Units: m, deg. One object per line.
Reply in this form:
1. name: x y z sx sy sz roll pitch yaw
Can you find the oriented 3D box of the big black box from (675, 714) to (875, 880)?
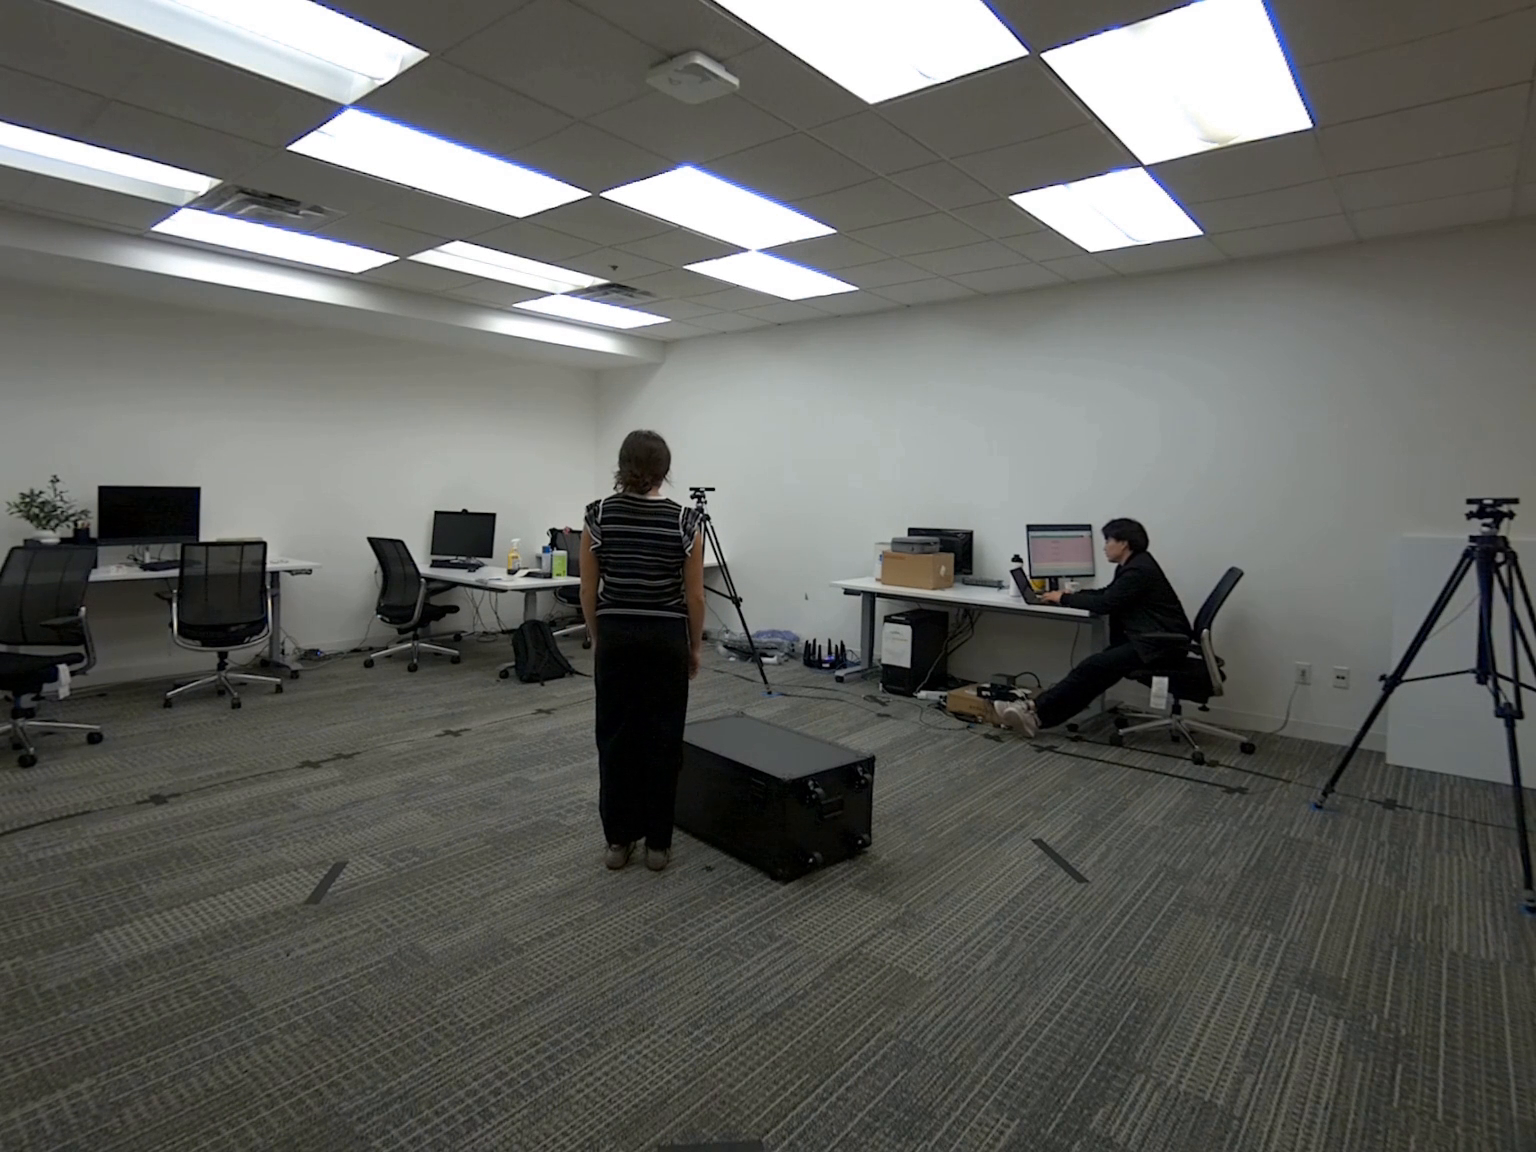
1. big black box: -0.024 0.852 3.398 0.505 0.395 0.891 -3 6 -42
